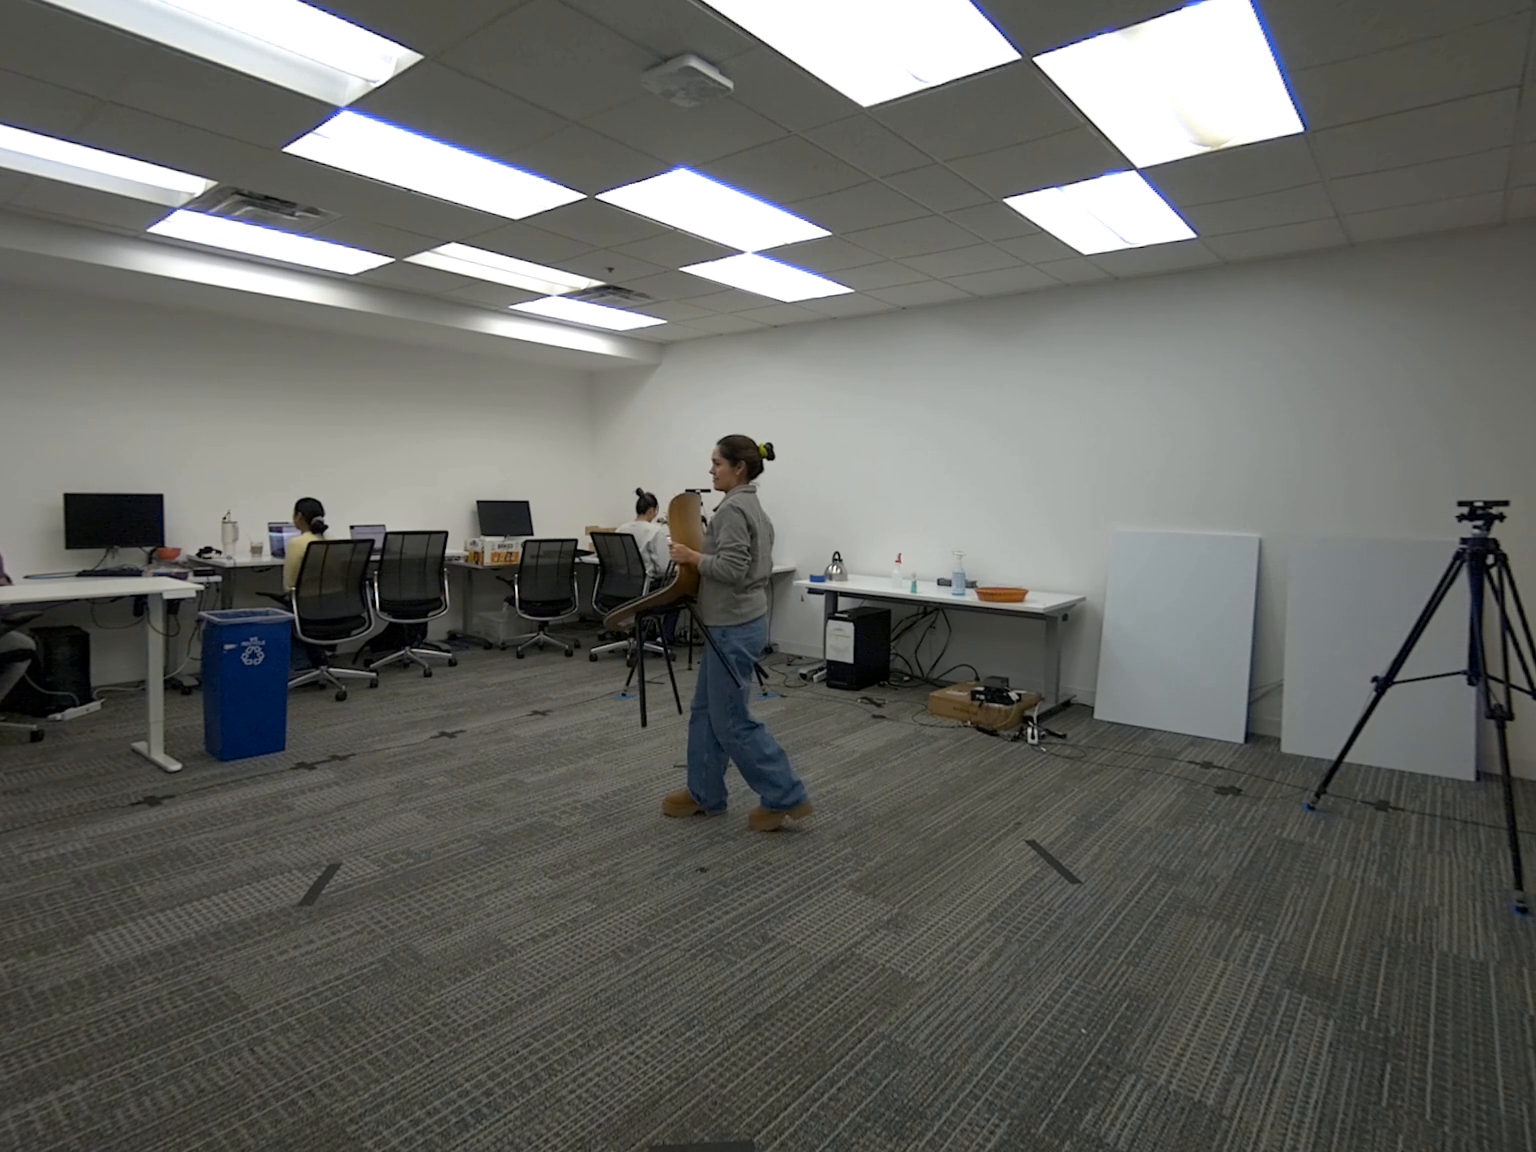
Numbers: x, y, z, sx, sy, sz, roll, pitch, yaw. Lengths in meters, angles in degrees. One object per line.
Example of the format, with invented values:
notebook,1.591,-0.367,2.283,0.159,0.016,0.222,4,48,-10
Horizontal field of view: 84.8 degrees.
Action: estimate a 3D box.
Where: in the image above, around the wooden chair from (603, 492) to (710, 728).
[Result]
wooden chair,-0.433,0.136,3.654,0.528,0.887,0.468,-20,-8,15
